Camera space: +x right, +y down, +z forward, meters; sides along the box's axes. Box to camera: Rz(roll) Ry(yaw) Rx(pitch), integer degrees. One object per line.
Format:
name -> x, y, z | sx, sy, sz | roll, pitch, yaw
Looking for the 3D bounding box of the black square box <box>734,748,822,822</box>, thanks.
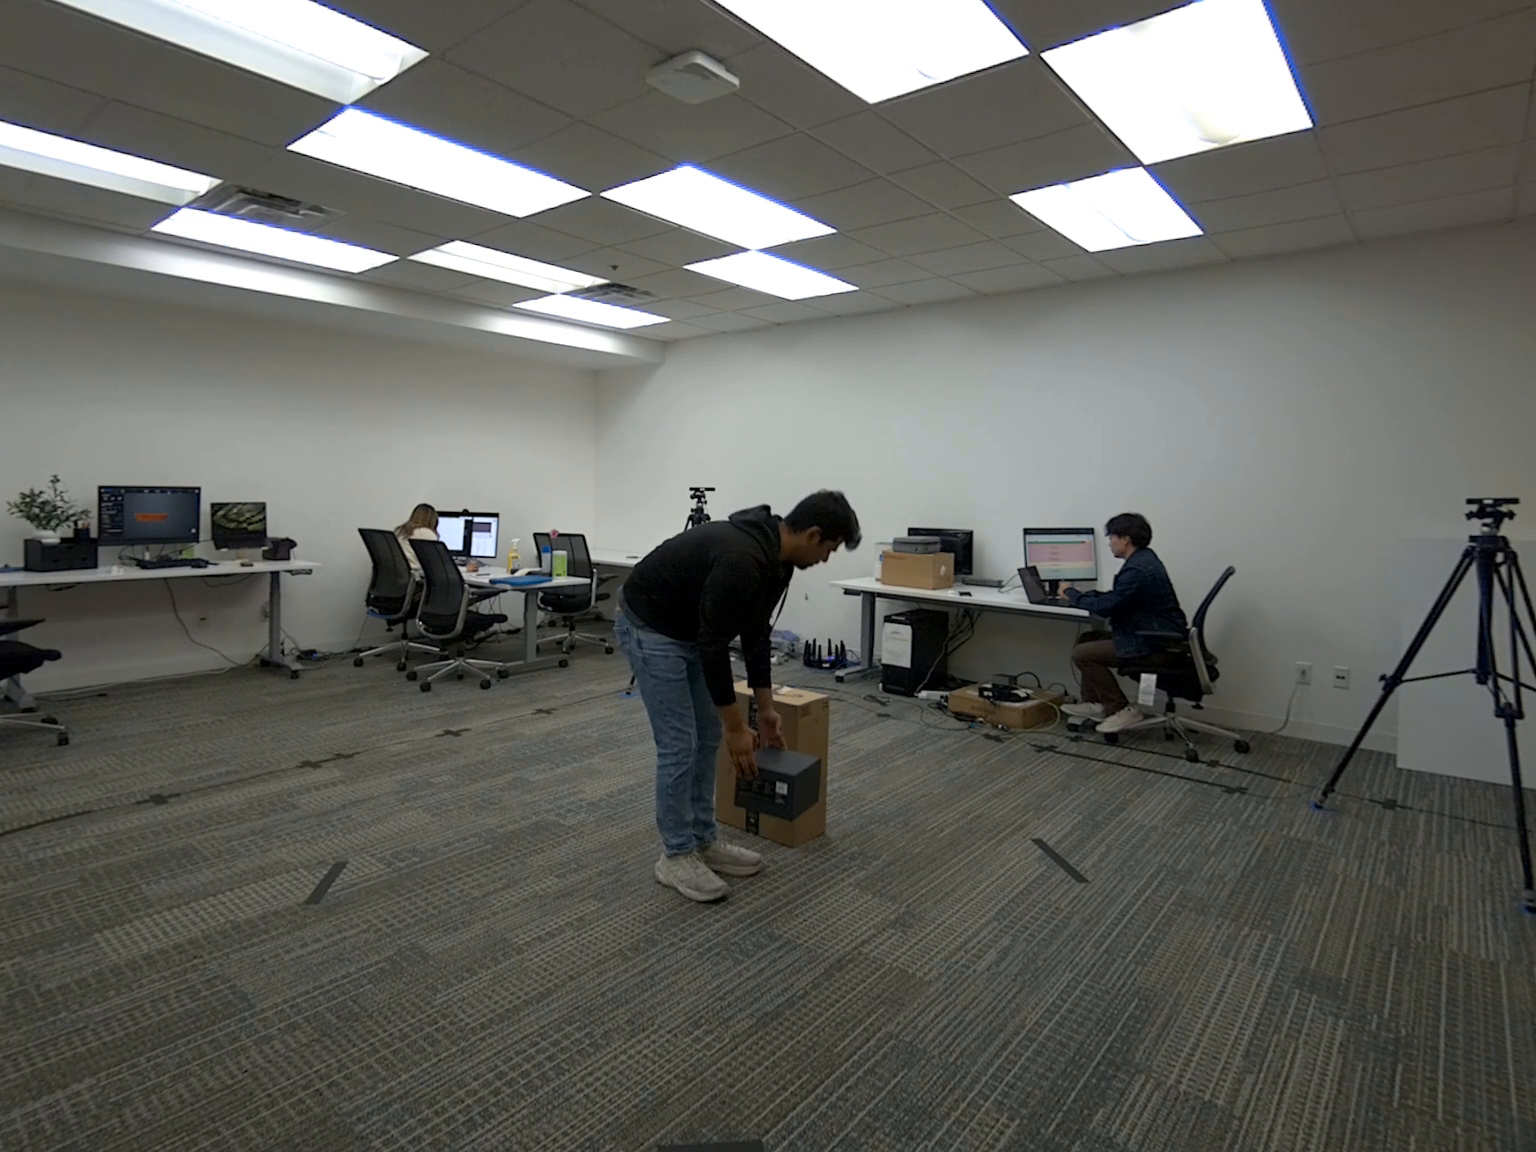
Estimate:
black square box -> 0.027, 0.701, 2.903 | 0.223, 0.155, 0.222 | 6, 6, 27
